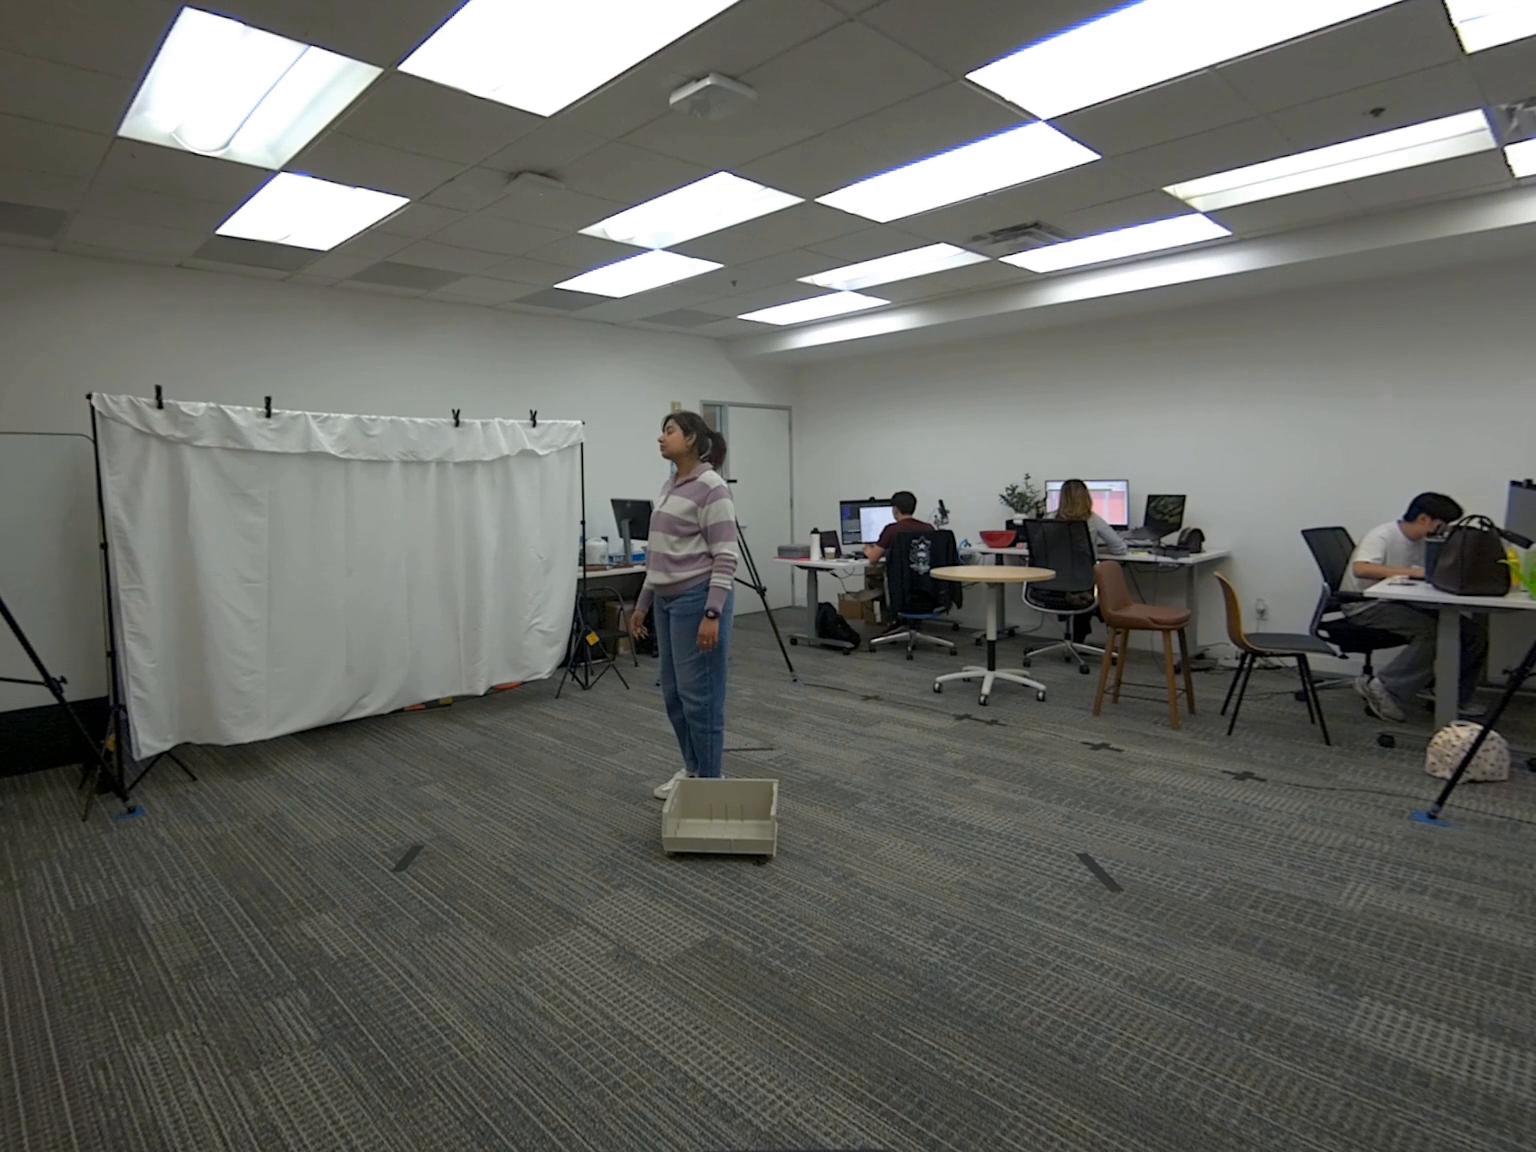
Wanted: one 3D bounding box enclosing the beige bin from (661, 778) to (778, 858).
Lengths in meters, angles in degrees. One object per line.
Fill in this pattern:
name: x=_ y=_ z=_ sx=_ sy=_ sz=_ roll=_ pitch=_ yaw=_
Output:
beige bin: x=-0.172 y=0.939 z=3.303 sx=0.424 sy=0.188 sz=0.377 roll=-1 pitch=5 yaw=4
